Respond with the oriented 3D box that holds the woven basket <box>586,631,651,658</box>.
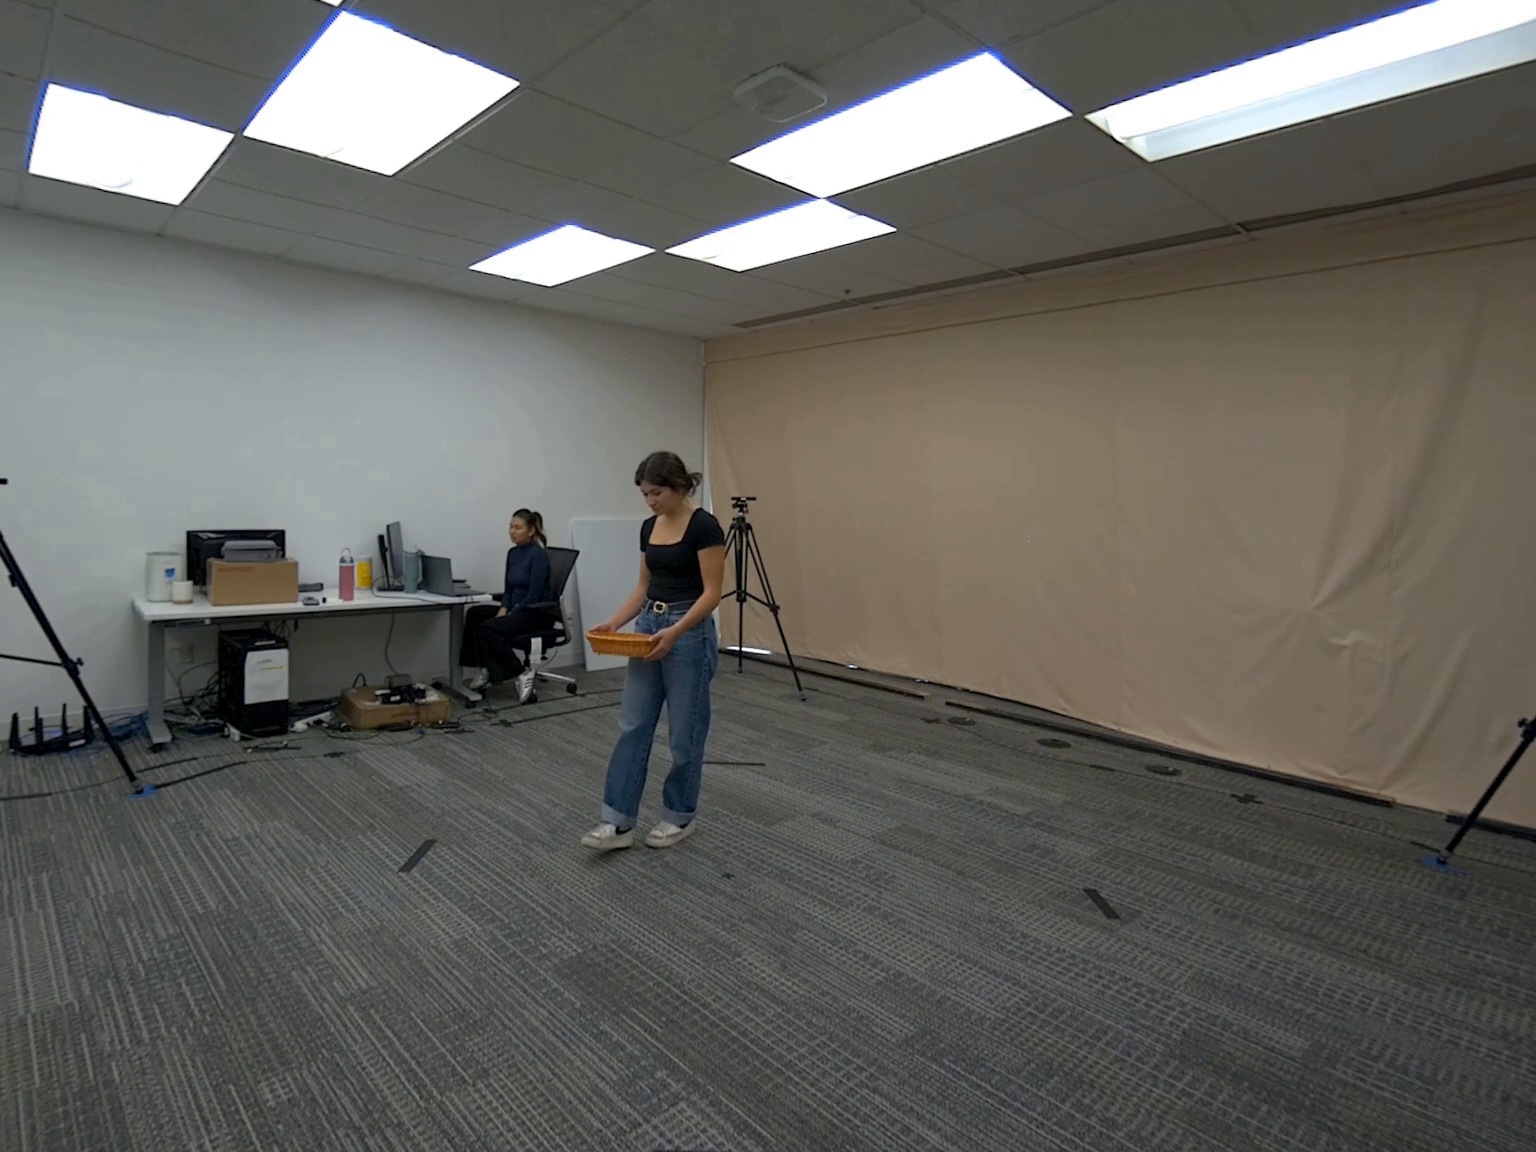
[{"bbox_3d":[-0.565,0.262,3.217,0.246,0.073,0.359,2,0,-39],"label":"woven basket"}]
